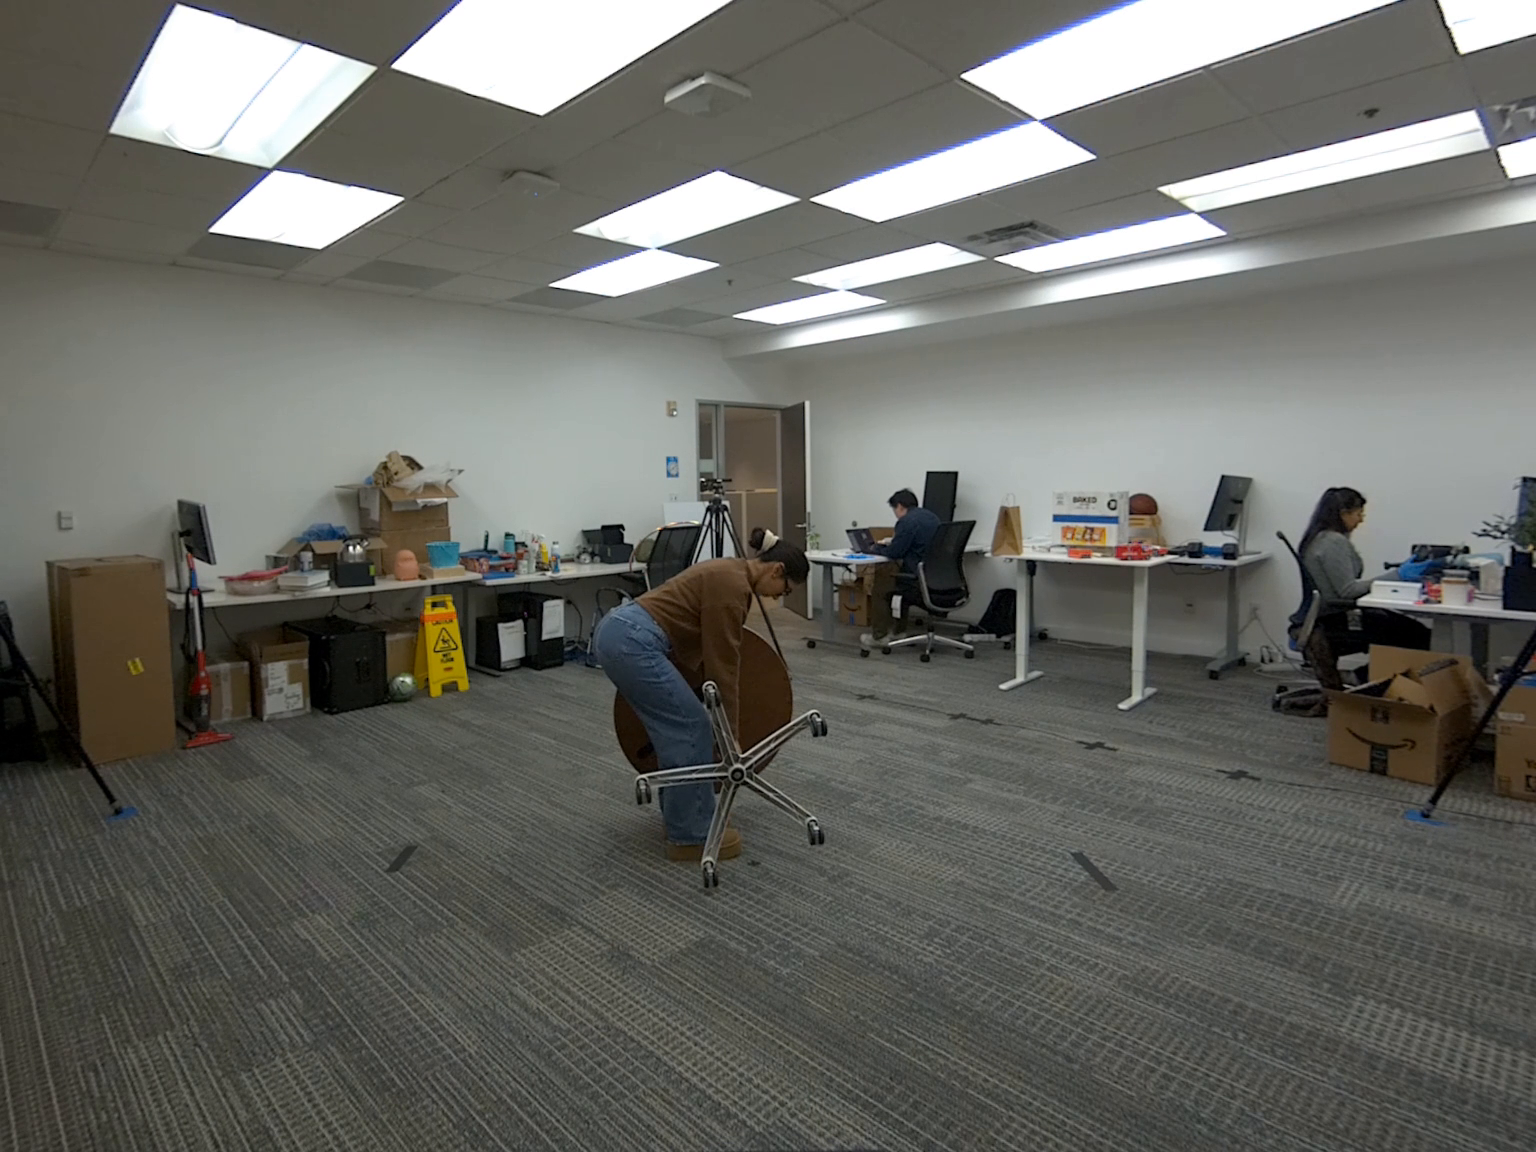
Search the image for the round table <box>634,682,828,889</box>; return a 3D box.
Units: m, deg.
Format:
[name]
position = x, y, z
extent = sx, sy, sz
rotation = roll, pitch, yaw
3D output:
[round table]
position = -0.178, 0.632, 3.216
extent = 0.756, 0.757, 0.810
rotation = -2, 10, -12
